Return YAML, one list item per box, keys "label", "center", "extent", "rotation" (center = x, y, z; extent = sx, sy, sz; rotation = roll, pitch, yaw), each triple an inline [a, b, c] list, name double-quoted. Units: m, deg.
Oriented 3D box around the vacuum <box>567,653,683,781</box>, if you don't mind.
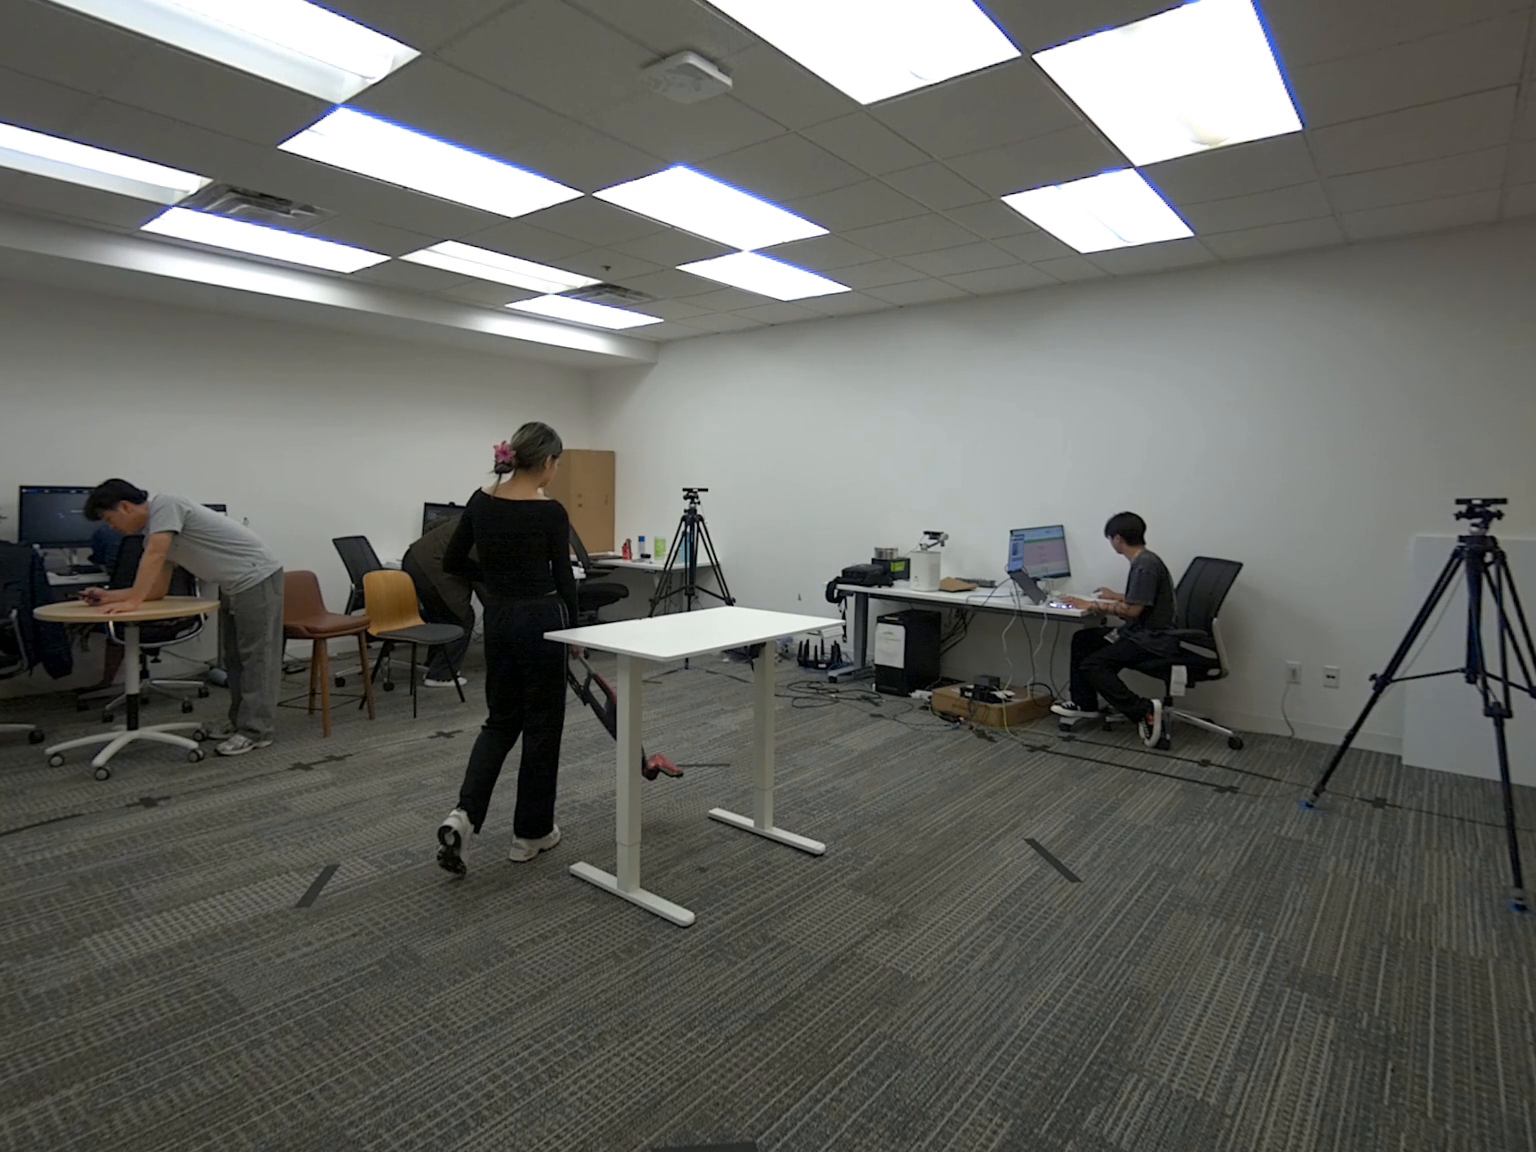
- label: "vacuum"
  center: [-0.743, 0.431, 3.422]
  extent: [0.143, 1.024, 0.259]
  rotation: [-44, 20, -25]
